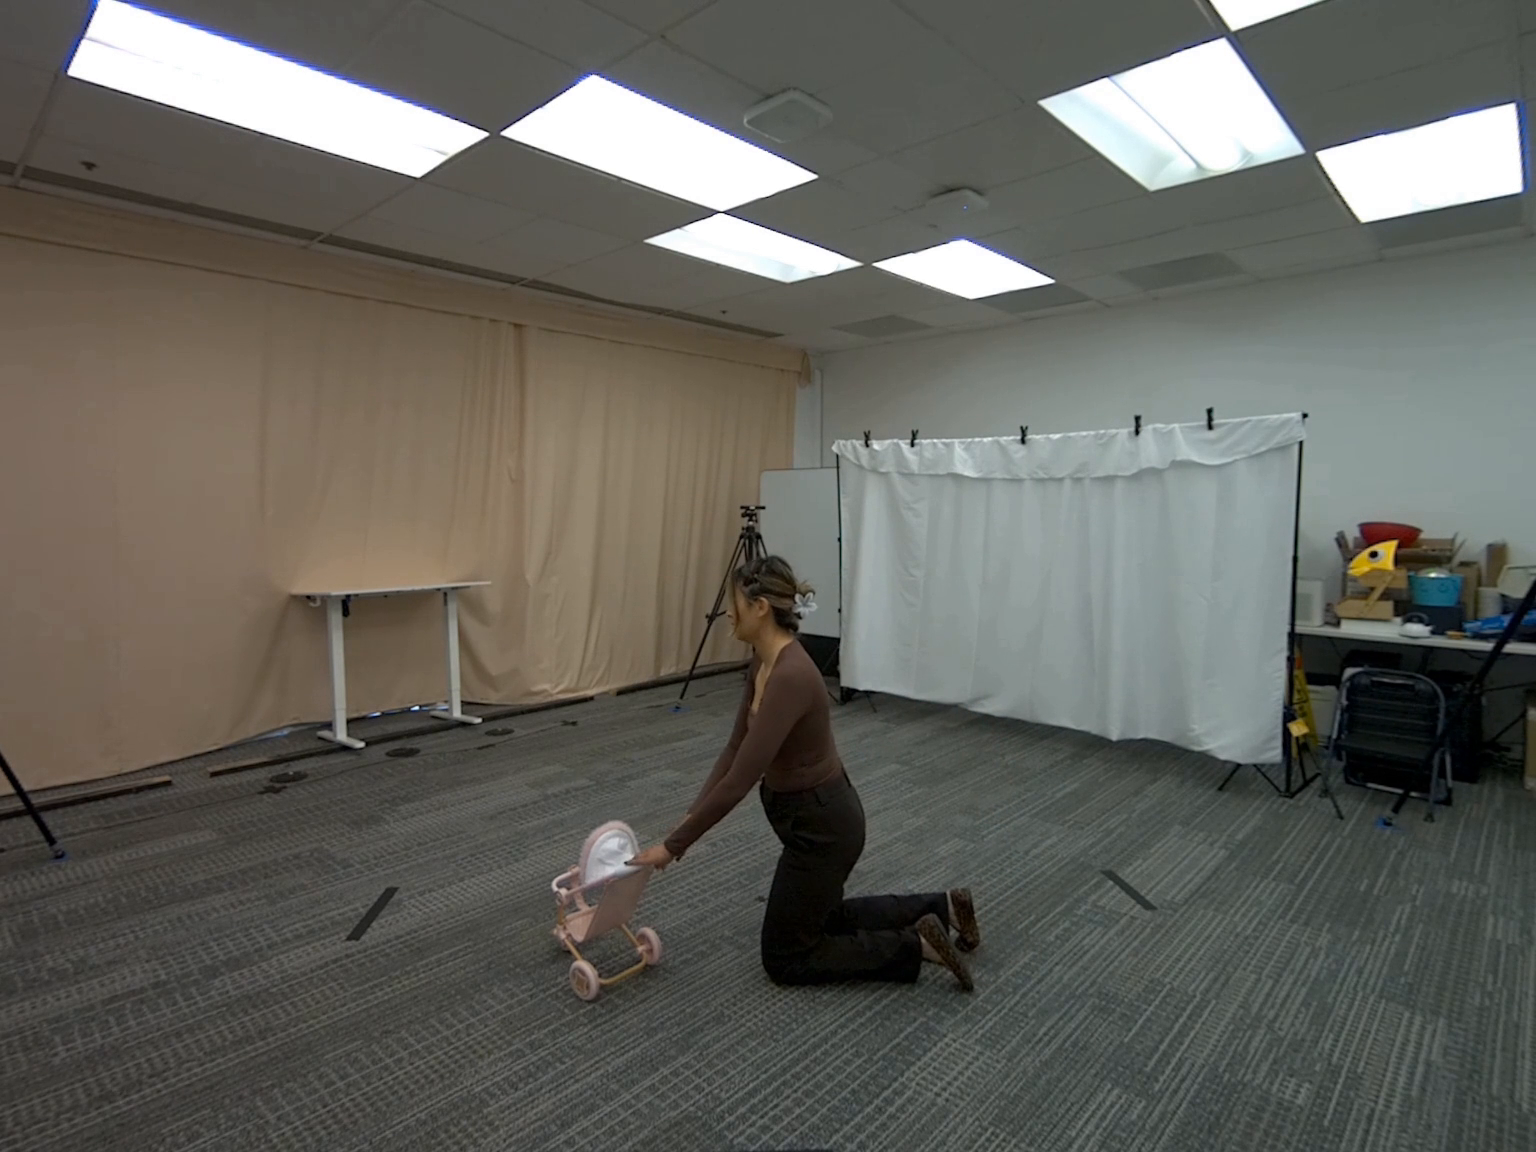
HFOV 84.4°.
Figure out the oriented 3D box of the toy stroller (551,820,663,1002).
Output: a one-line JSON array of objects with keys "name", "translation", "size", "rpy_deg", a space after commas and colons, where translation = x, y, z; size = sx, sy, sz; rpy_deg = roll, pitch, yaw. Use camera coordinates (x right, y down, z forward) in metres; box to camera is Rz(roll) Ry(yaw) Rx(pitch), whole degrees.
[{"name": "toy stroller", "translation": [-0.485, 0.968, 2.507], "size": [0.273, 0.532, 0.354], "rpy_deg": [-2, 20, -45]}]
